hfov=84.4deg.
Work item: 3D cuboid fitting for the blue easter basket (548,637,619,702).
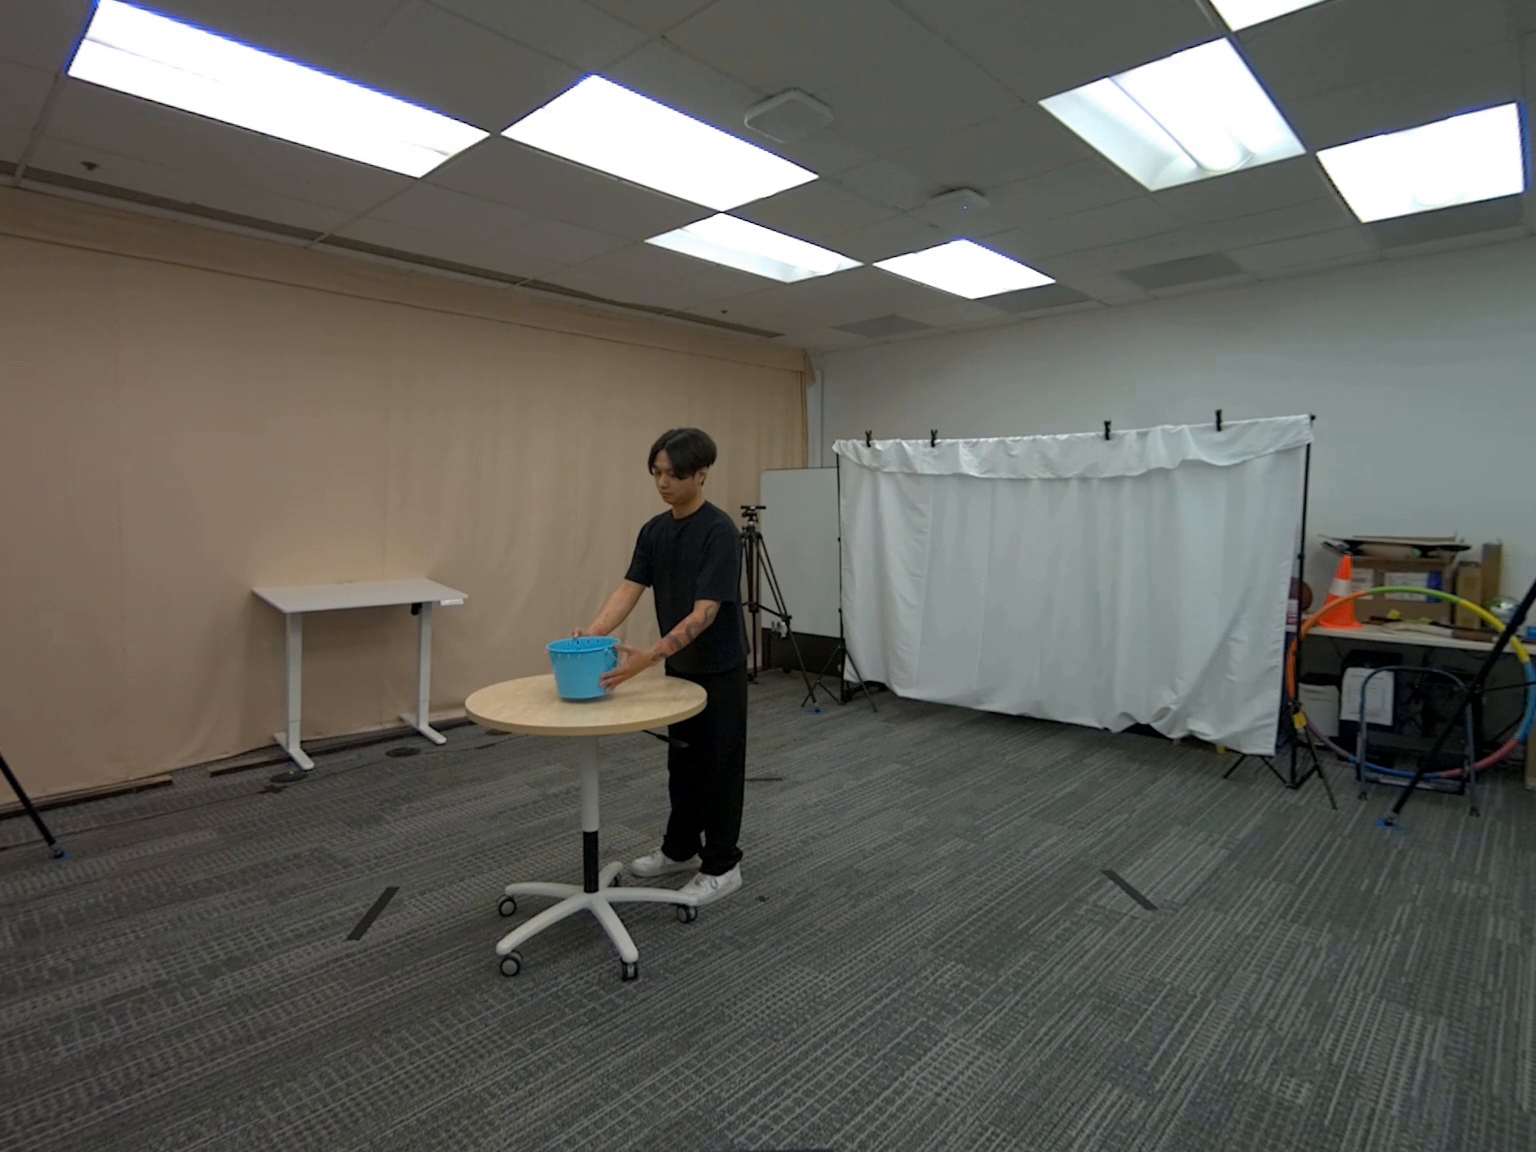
[{"bbox_3d":[-0.577,0.290,2.663,0.243,0.155,0.245,0,6,-2],"label":"blue easter basket"}]
